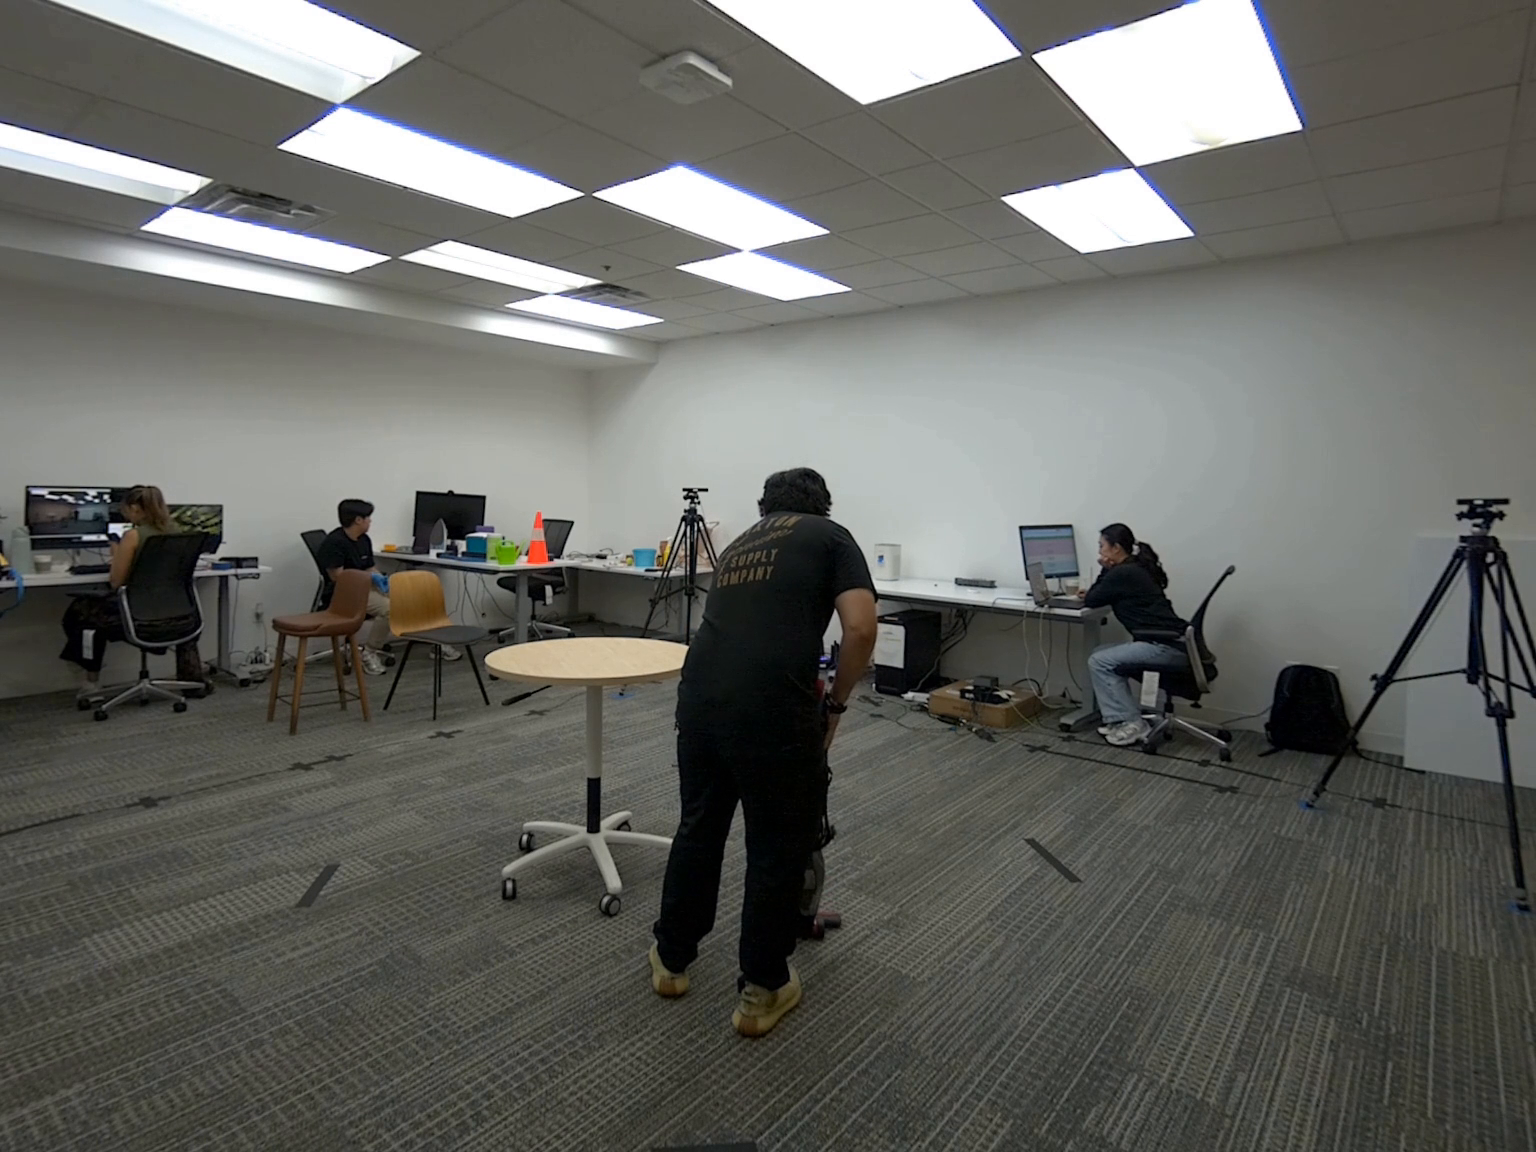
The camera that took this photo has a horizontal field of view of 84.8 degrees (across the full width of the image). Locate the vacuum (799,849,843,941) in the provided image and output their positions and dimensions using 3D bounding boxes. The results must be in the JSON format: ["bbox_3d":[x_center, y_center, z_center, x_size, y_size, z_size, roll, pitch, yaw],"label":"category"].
[{"bbox_3d":[0.101,0.681,2.446,0.254,1.022,0.147,2,31,6],"label":"vacuum"}]
